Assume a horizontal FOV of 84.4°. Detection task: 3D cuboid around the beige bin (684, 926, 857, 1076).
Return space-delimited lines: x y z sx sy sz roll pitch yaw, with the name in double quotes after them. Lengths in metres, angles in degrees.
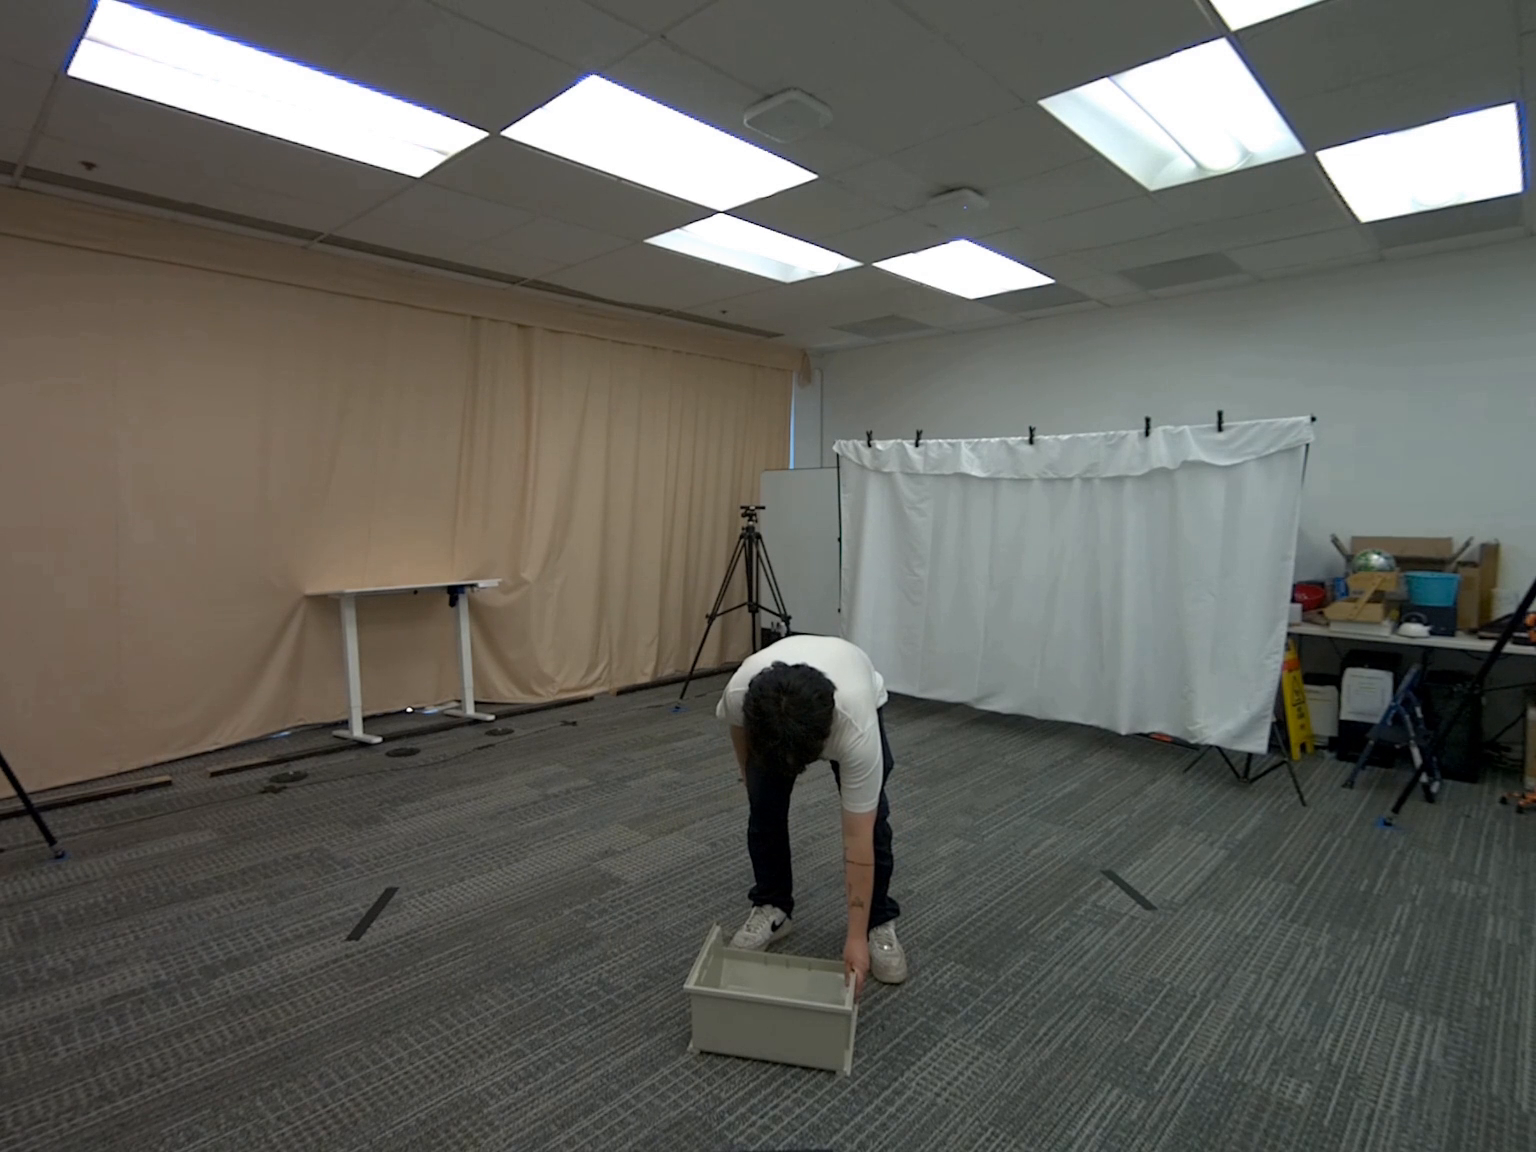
0.027 1.116 2.264 0.428 0.188 0.373 2 6 12 "beige bin"
